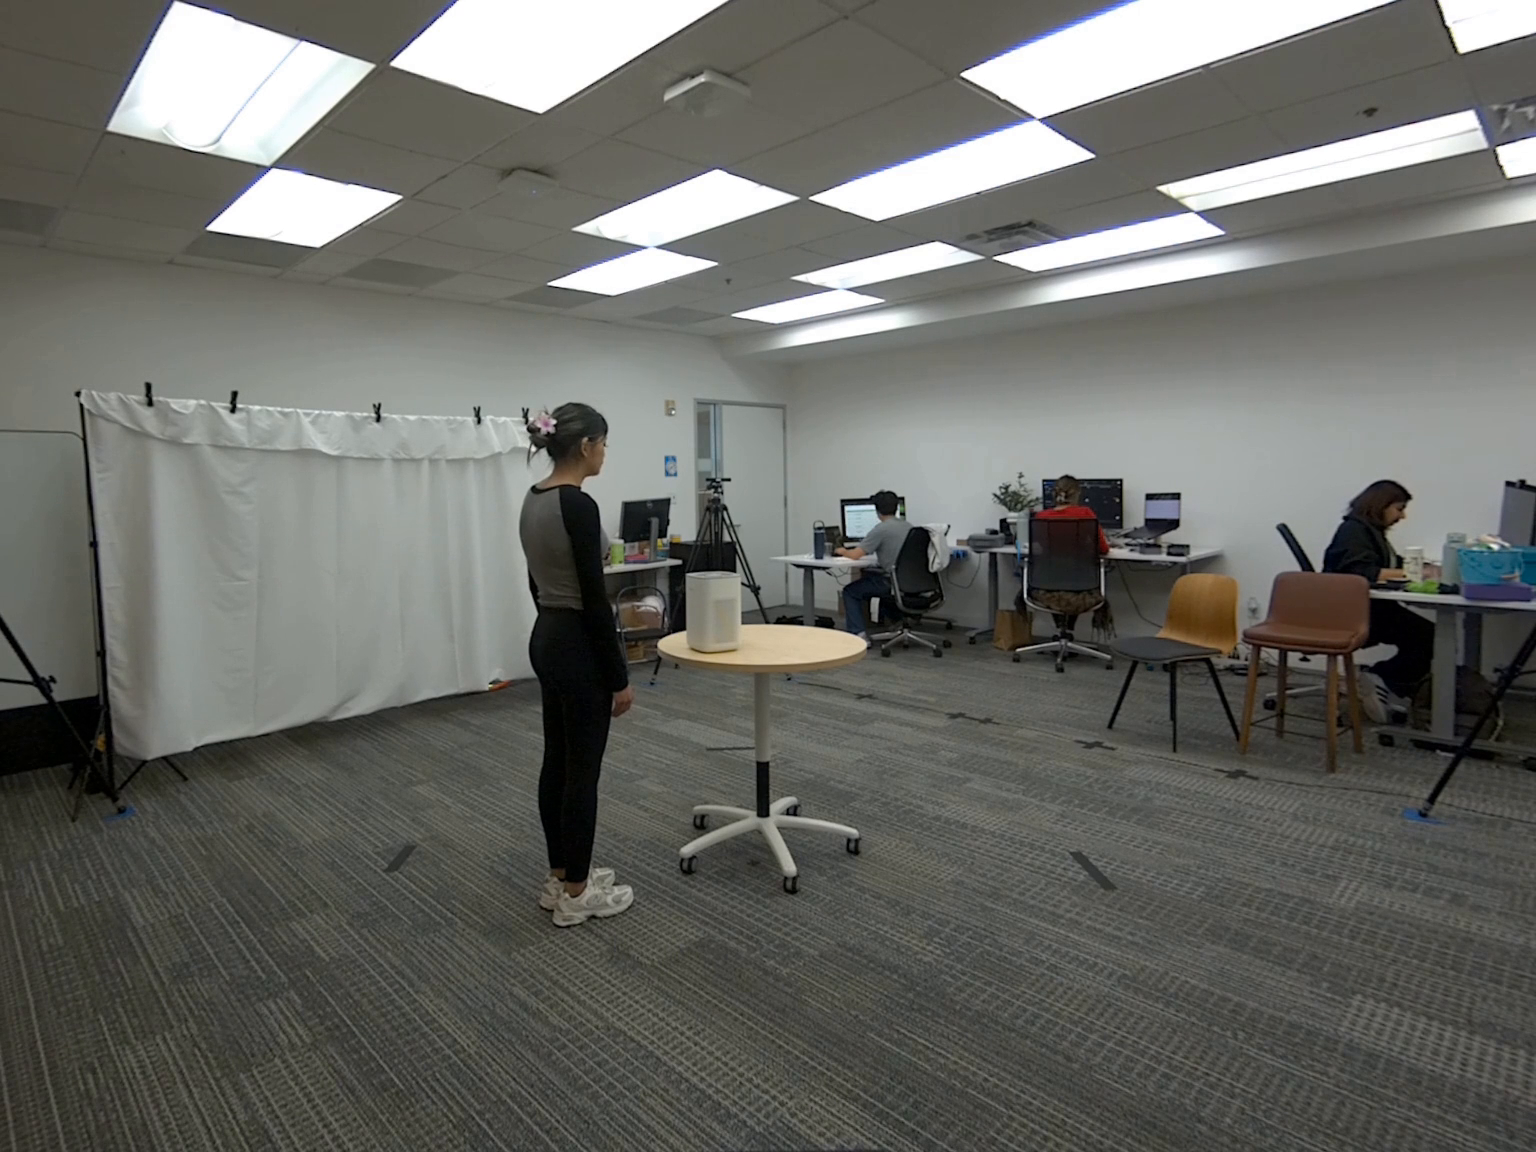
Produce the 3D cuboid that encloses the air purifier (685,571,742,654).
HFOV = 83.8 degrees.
[{"bbox_3d":[-0.188,0.121,3.020,0.167,0.264,0.176,-3,7,-30],"label":"air purifier"}]
